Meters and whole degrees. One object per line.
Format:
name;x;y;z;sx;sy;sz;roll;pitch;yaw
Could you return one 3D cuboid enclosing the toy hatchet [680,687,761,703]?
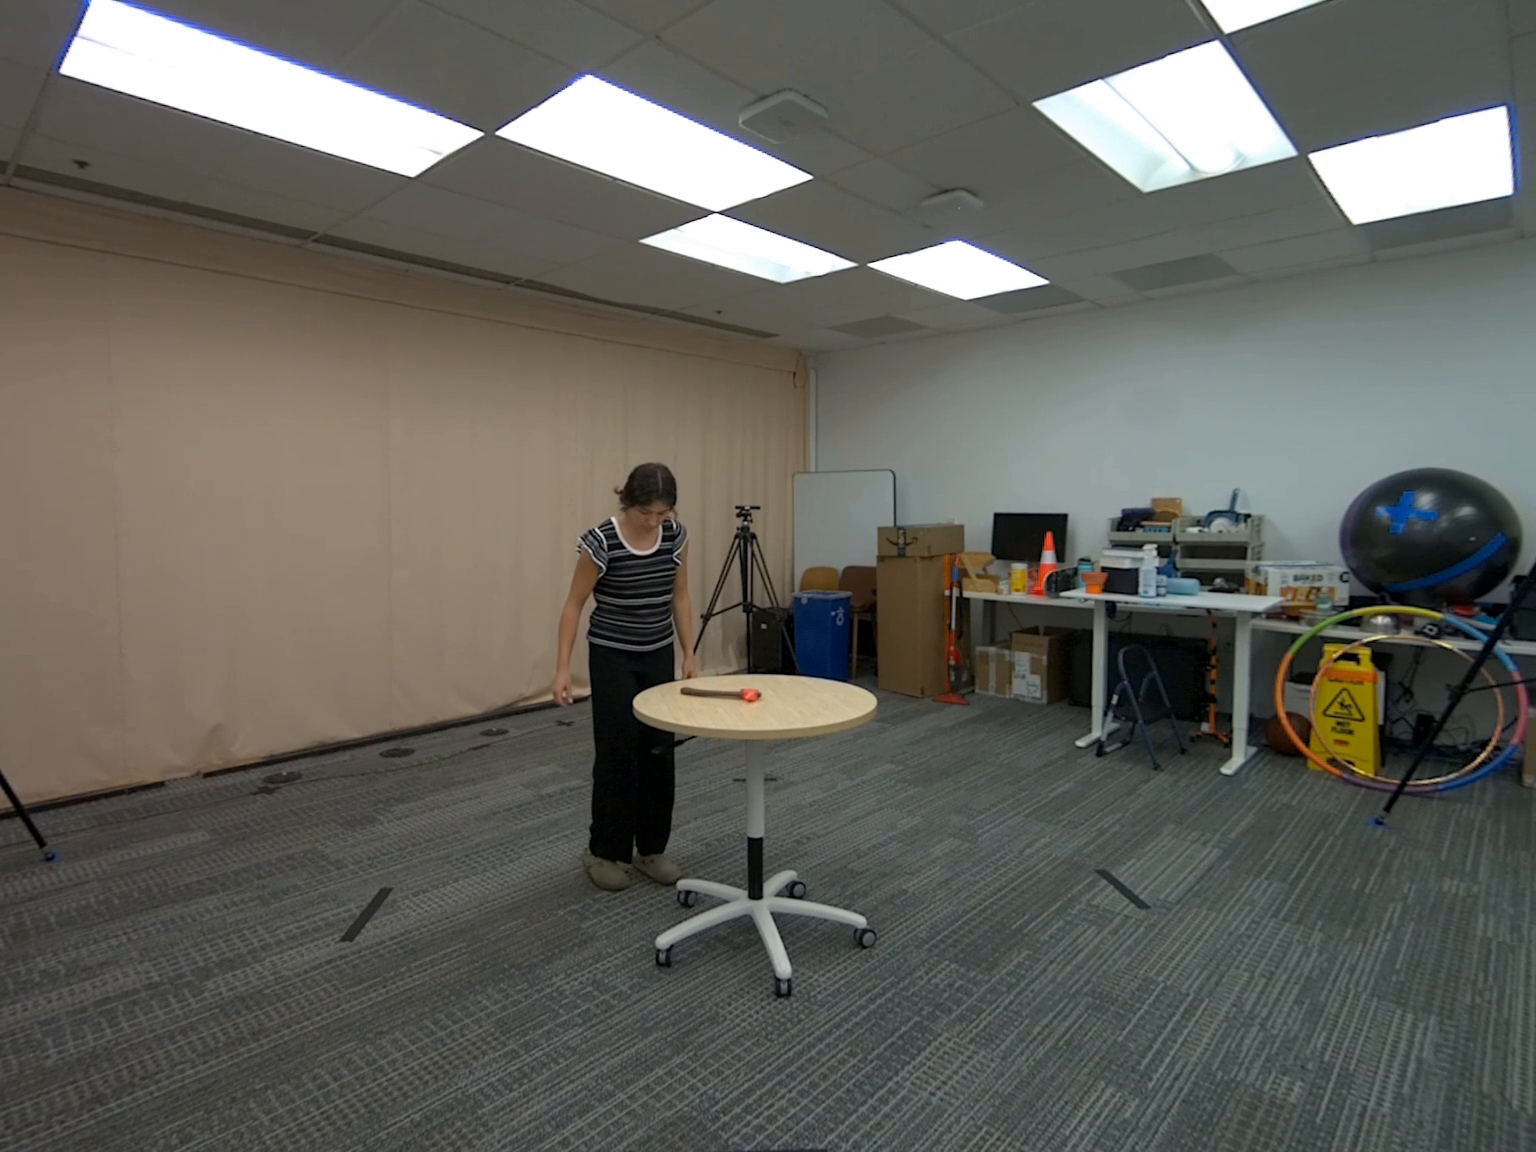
toy hatchet;-0.142;0.375;2.700;0.278;0.029;0.127;1;4;33
